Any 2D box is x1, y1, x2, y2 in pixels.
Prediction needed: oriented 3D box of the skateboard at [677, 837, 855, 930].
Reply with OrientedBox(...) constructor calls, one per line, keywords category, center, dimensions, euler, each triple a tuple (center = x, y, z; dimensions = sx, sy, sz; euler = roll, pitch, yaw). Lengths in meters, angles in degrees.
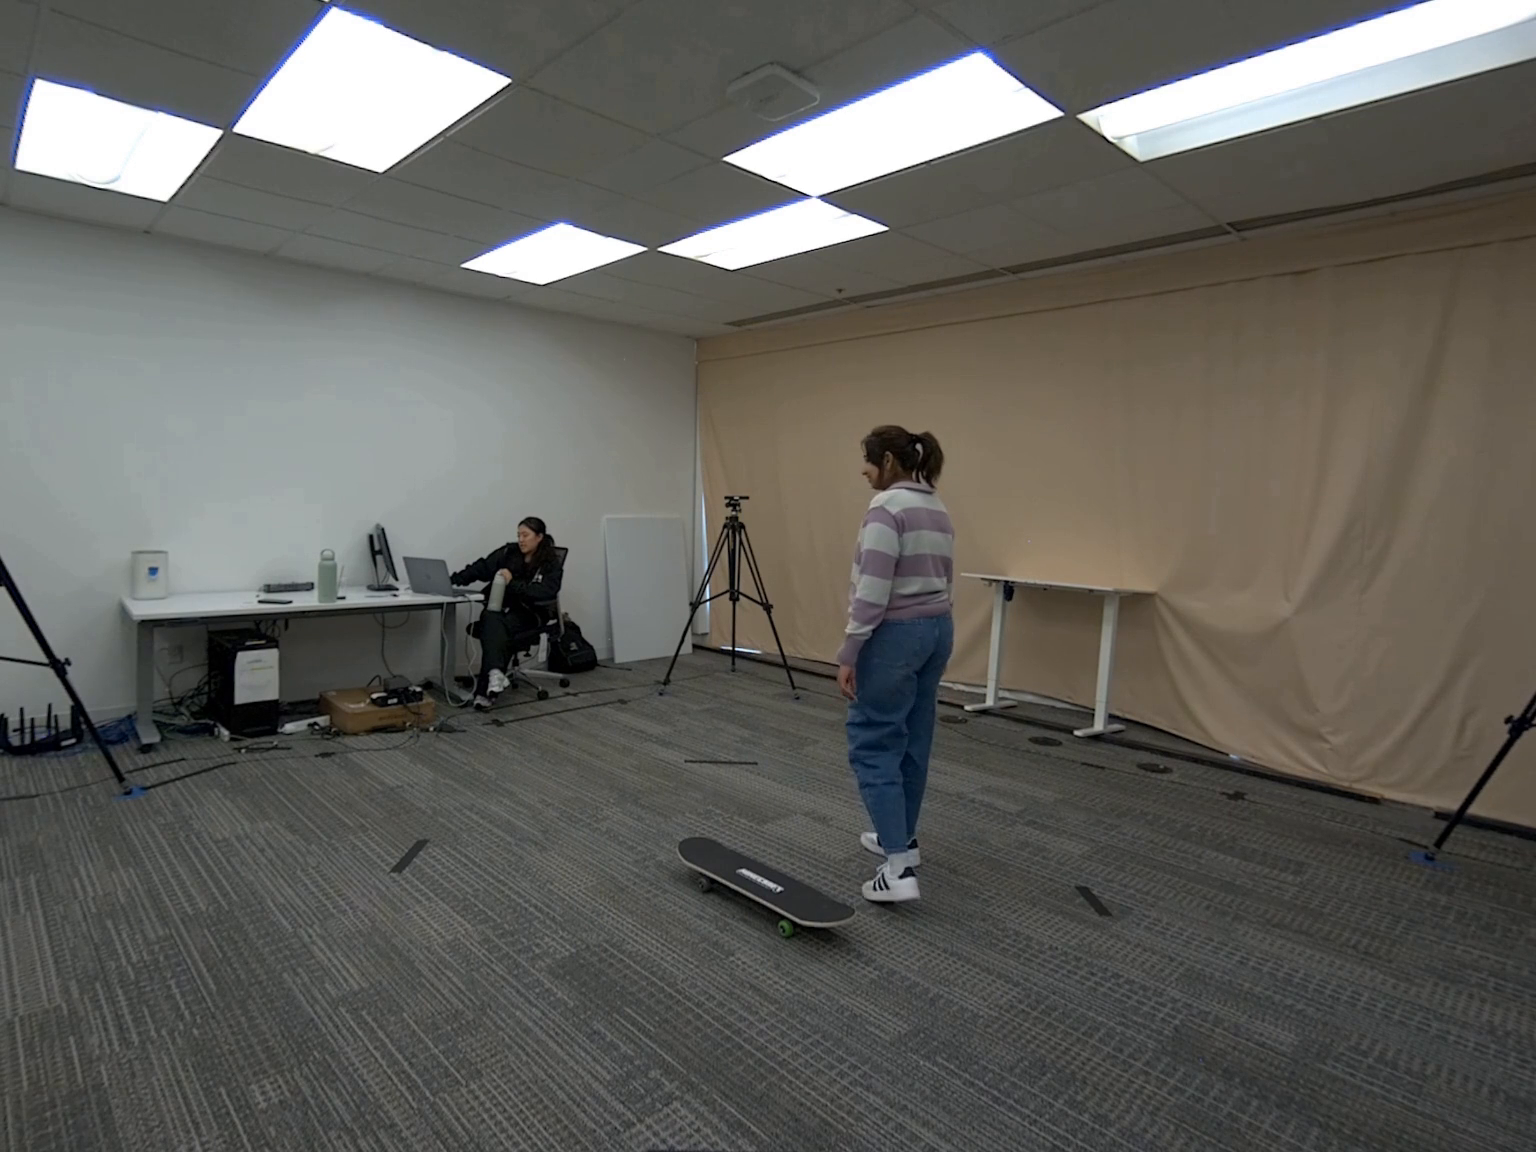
OrientedBox(category="skateboard", center=(-0.036, 1.071, 2.874), dimensions=(0.189, 0.110, 0.806), euler=(-3, 7, -43))
